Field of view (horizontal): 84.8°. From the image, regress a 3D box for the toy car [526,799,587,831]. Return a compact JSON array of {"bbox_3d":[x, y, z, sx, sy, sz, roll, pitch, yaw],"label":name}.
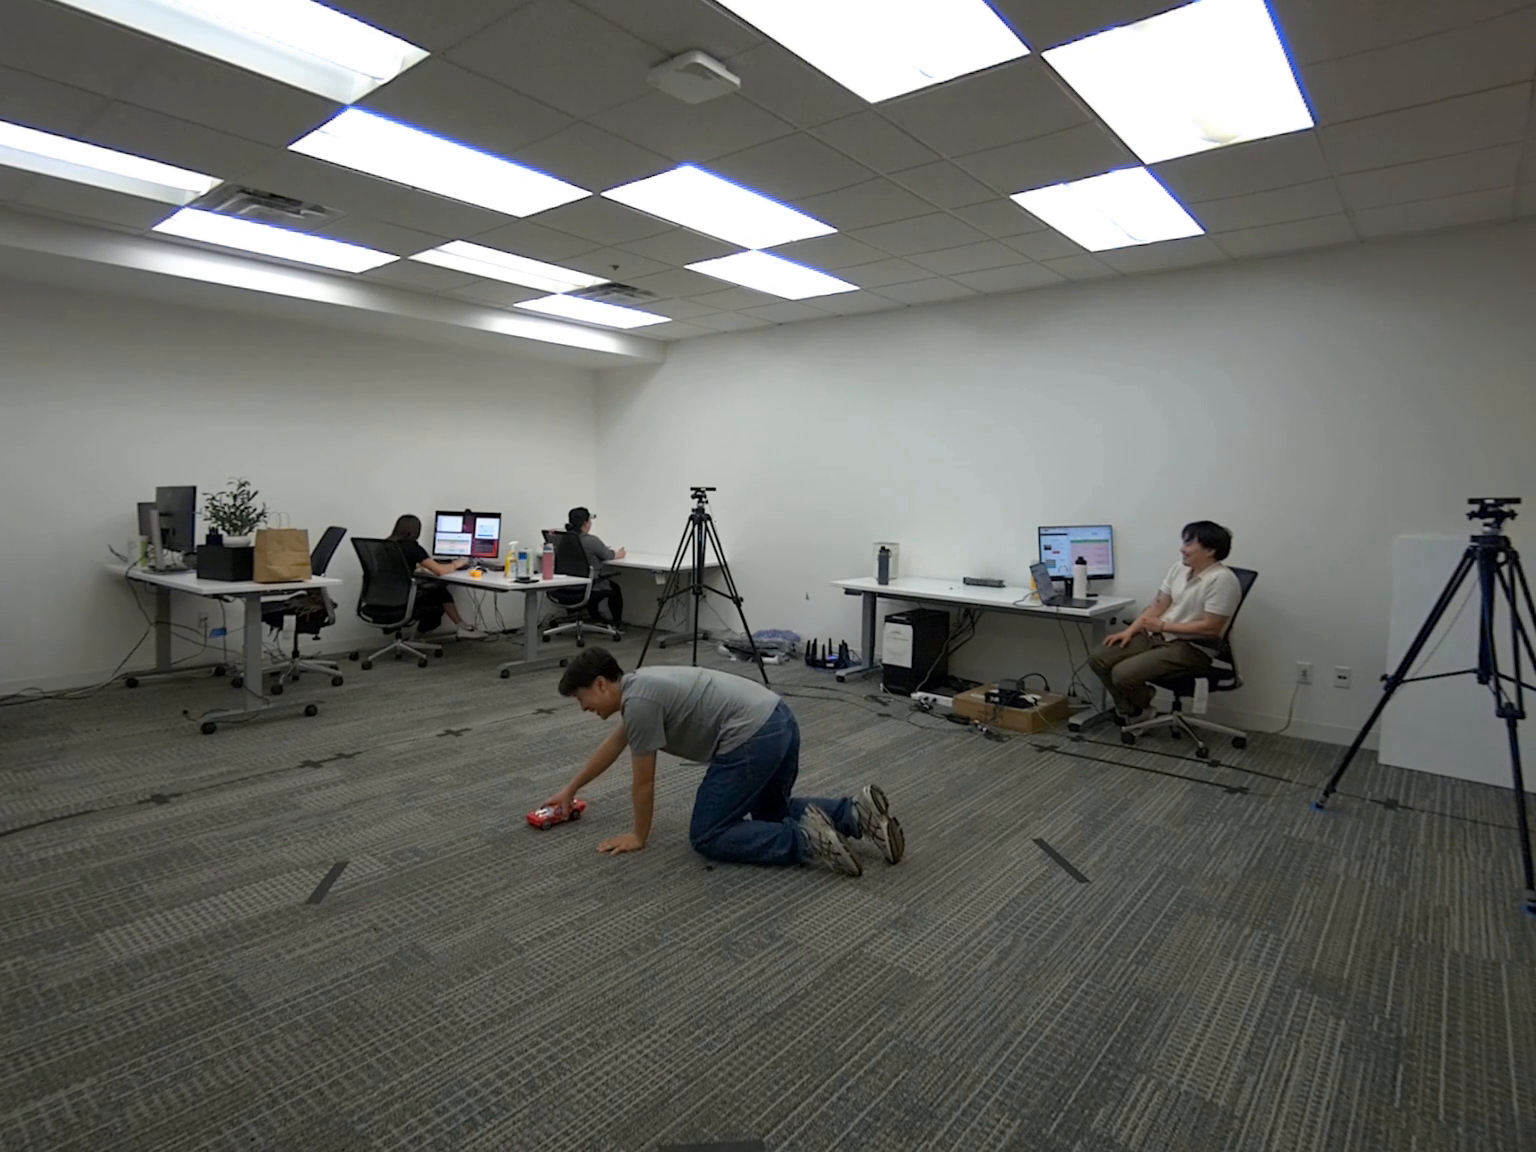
[{"bbox_3d":[-0.887,0.981,3.544,0.249,0.082,0.135,-18,16,-42],"label":"toy car"}]
